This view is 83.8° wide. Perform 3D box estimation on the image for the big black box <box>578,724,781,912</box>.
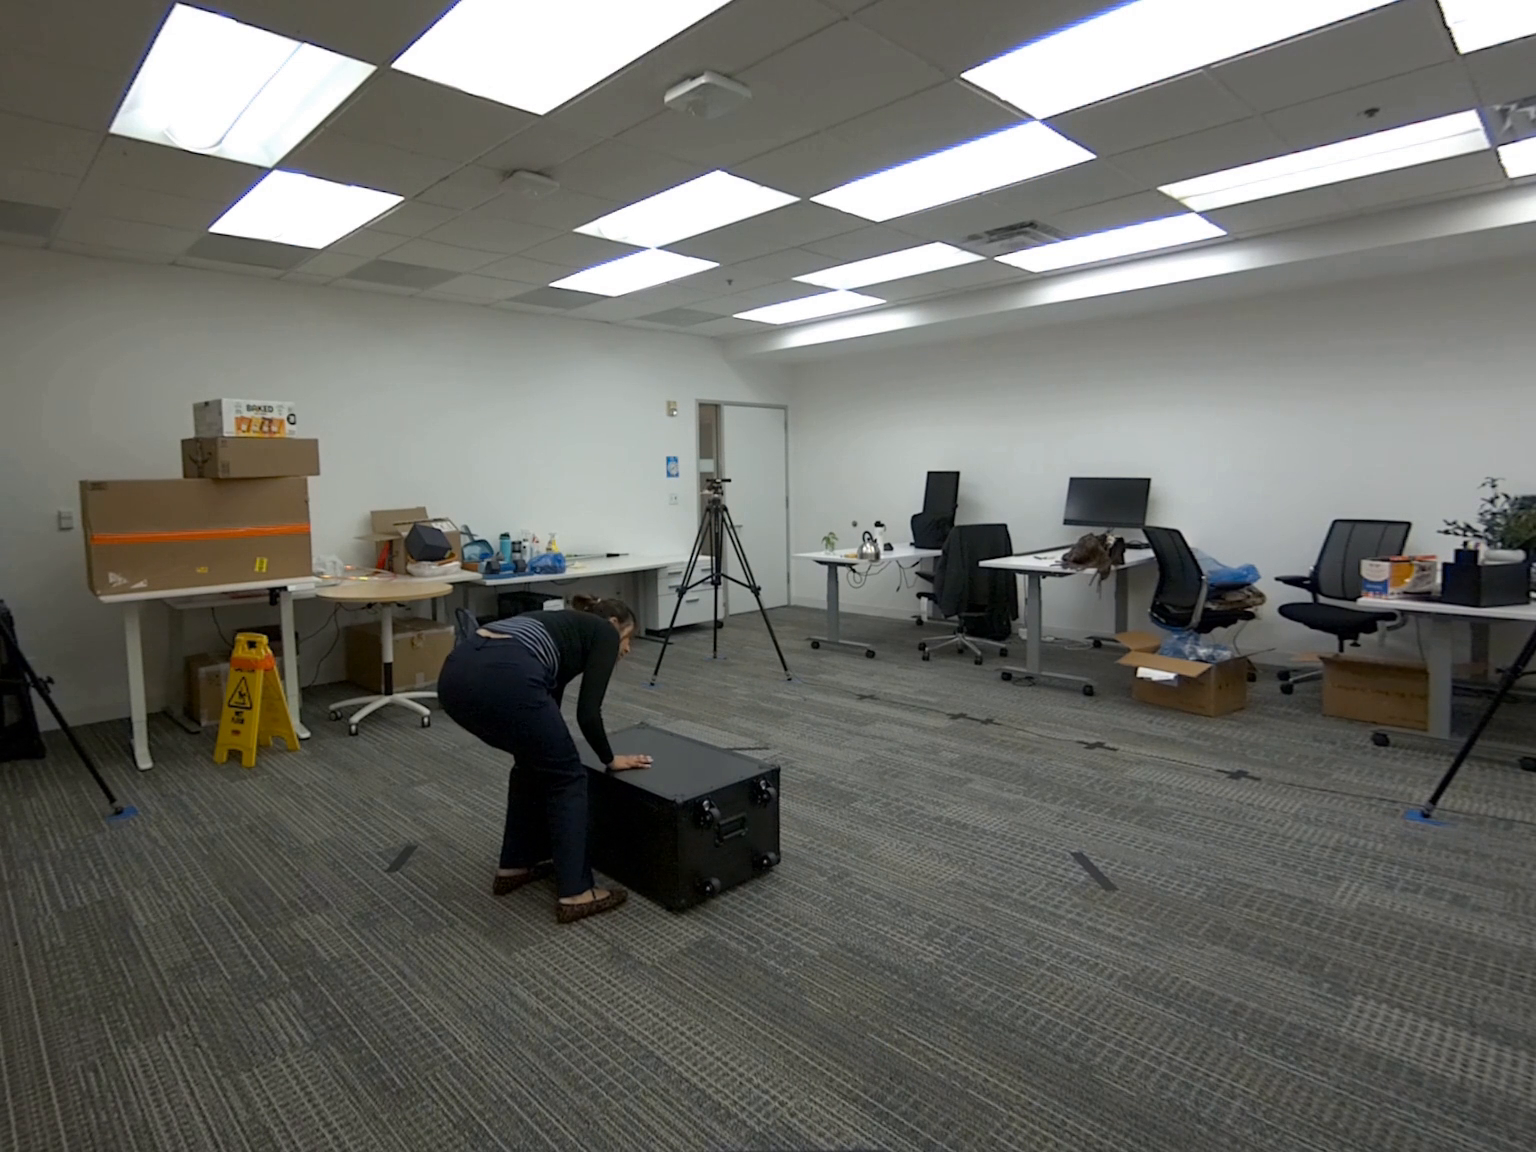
[{"bbox_3d":[-0.419,0.851,3.189,0.508,0.394,0.888,-7,9,-44],"label":"big black box"}]
